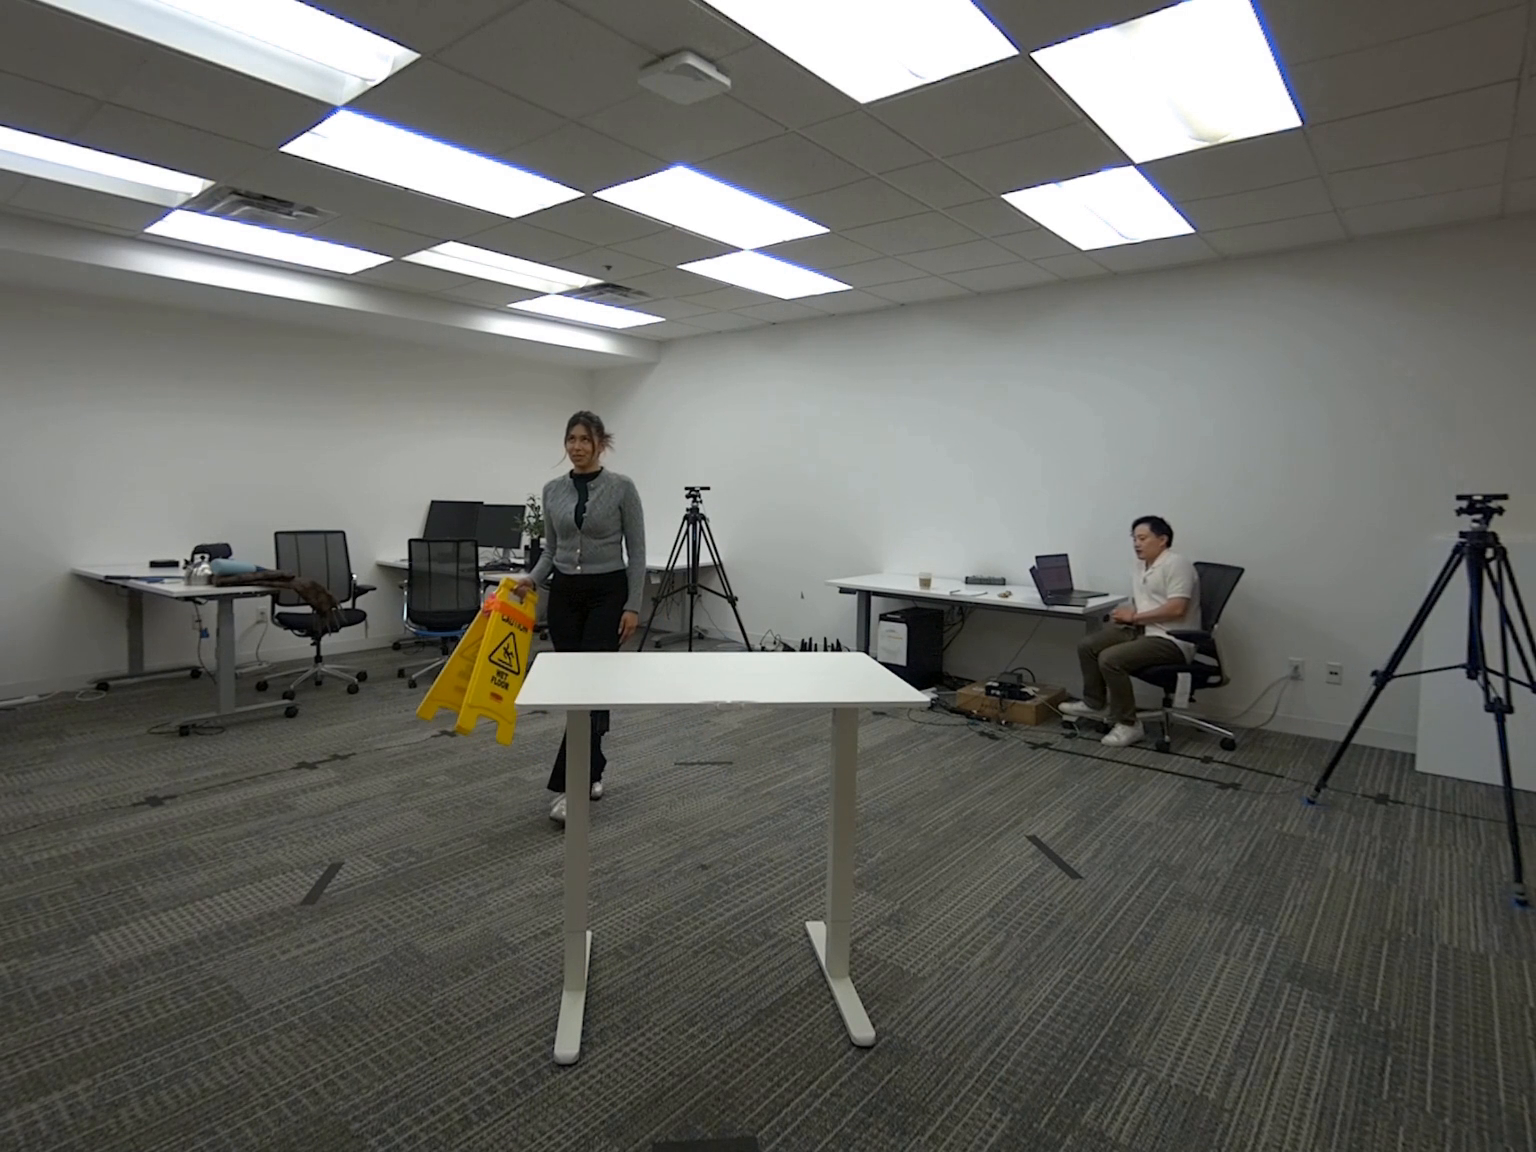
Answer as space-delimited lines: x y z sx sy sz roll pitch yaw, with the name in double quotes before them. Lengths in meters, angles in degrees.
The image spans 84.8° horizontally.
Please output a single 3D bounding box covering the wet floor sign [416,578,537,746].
"wet floor sign" -1.157 0.332 3.520 0.299 0.653 0.270 1 -25 36
